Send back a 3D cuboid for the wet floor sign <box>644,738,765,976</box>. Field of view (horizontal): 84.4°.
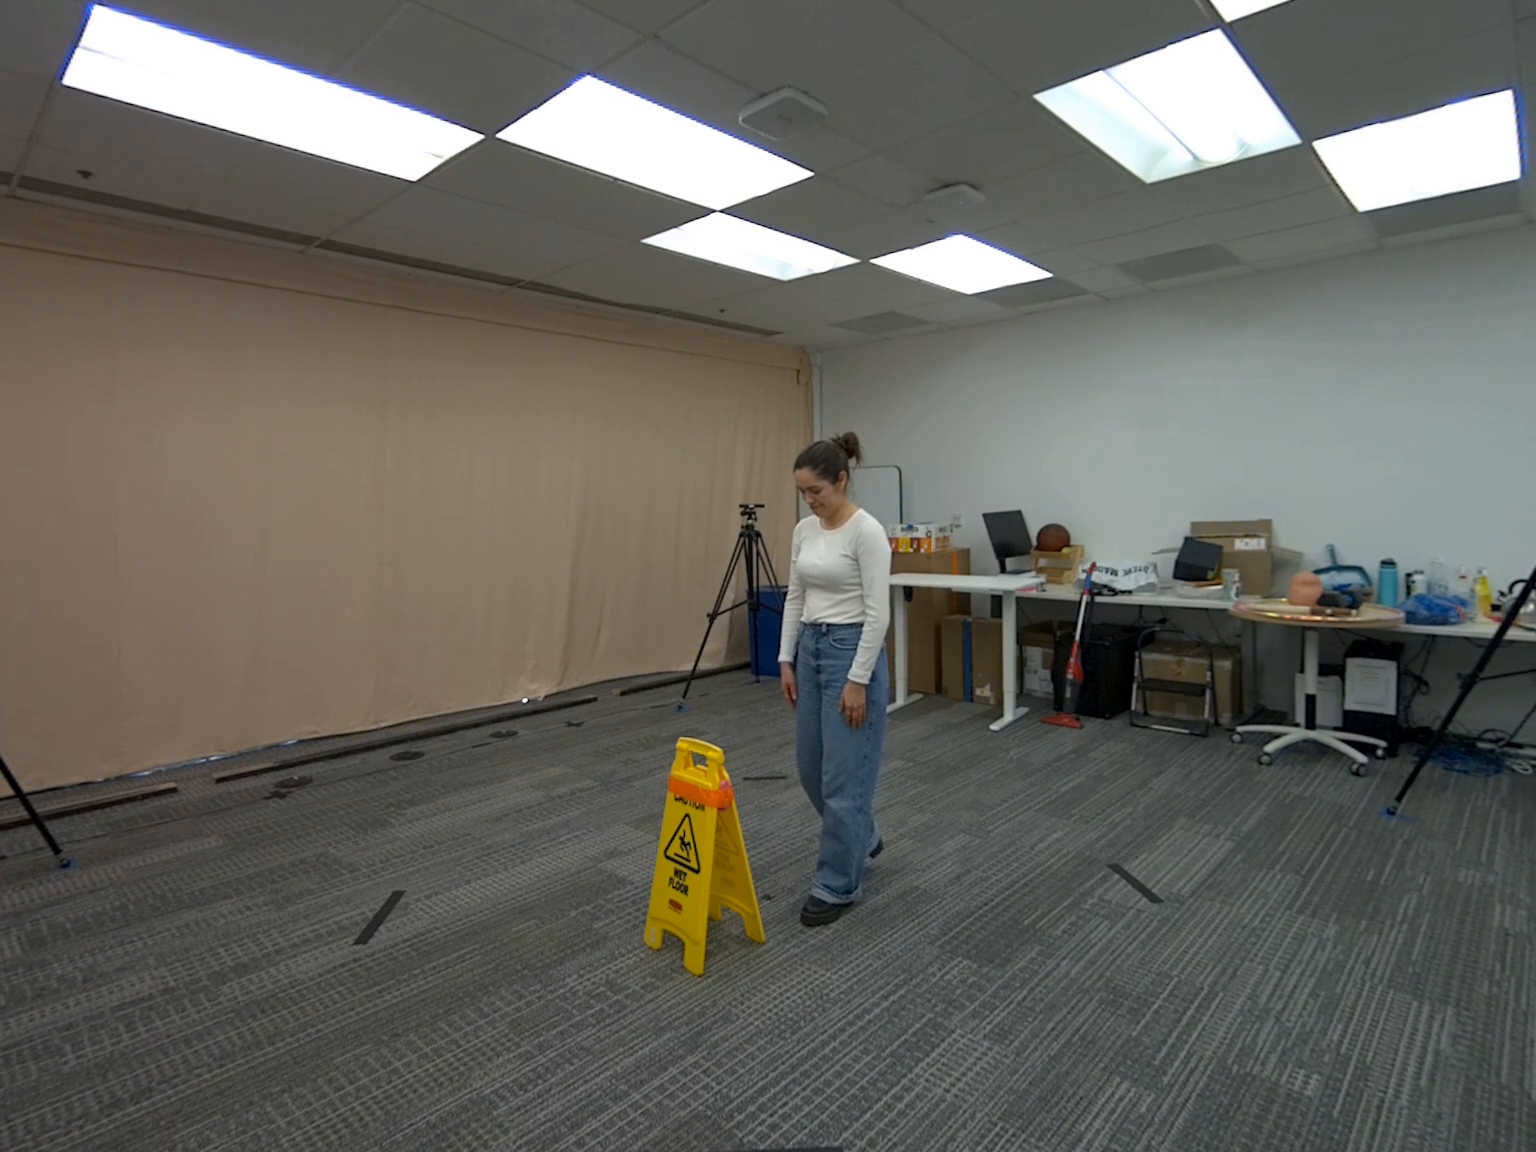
[{"bbox_3d":[-0.201,0.844,2.666,0.281,0.645,0.292,-3,4,-44],"label":"wet floor sign"}]
